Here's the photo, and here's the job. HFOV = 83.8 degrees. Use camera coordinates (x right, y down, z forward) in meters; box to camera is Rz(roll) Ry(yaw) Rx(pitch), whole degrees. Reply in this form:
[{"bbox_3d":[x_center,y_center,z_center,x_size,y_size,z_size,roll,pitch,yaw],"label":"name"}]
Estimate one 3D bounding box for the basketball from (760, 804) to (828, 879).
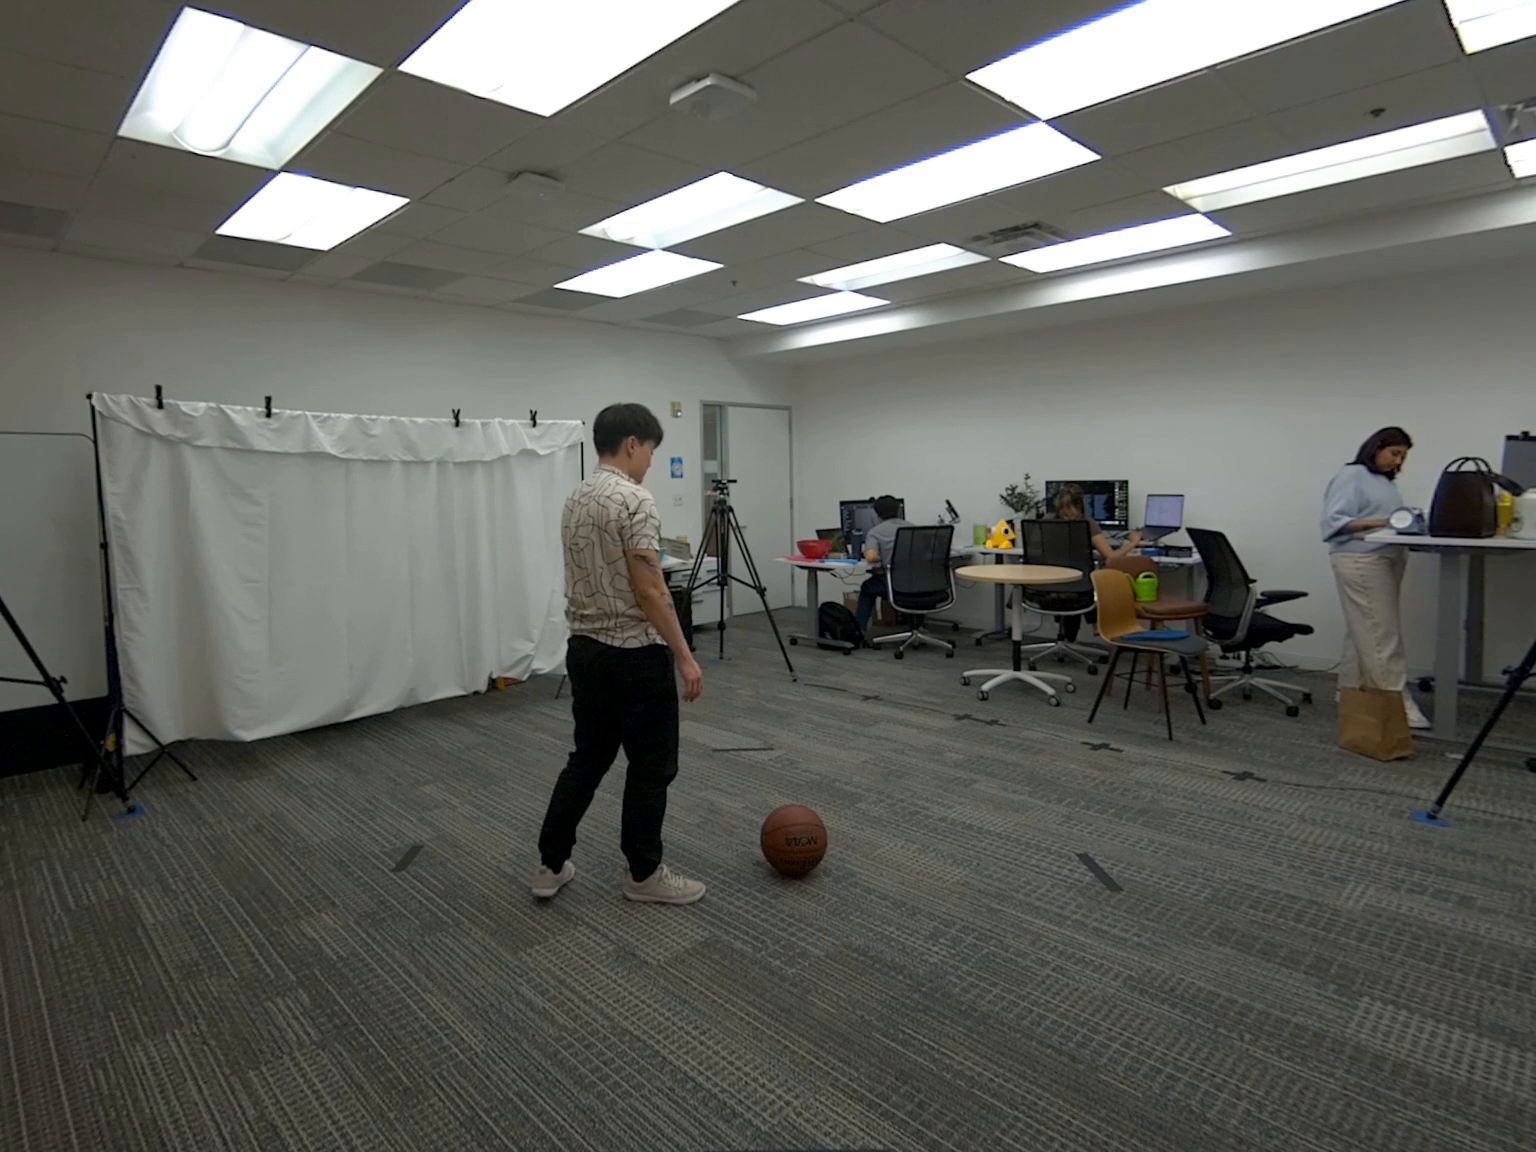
[{"bbox_3d":[0.095,0.930,3.036,0.236,0.235,0.237,-1,5,-2],"label":"basketball"}]
